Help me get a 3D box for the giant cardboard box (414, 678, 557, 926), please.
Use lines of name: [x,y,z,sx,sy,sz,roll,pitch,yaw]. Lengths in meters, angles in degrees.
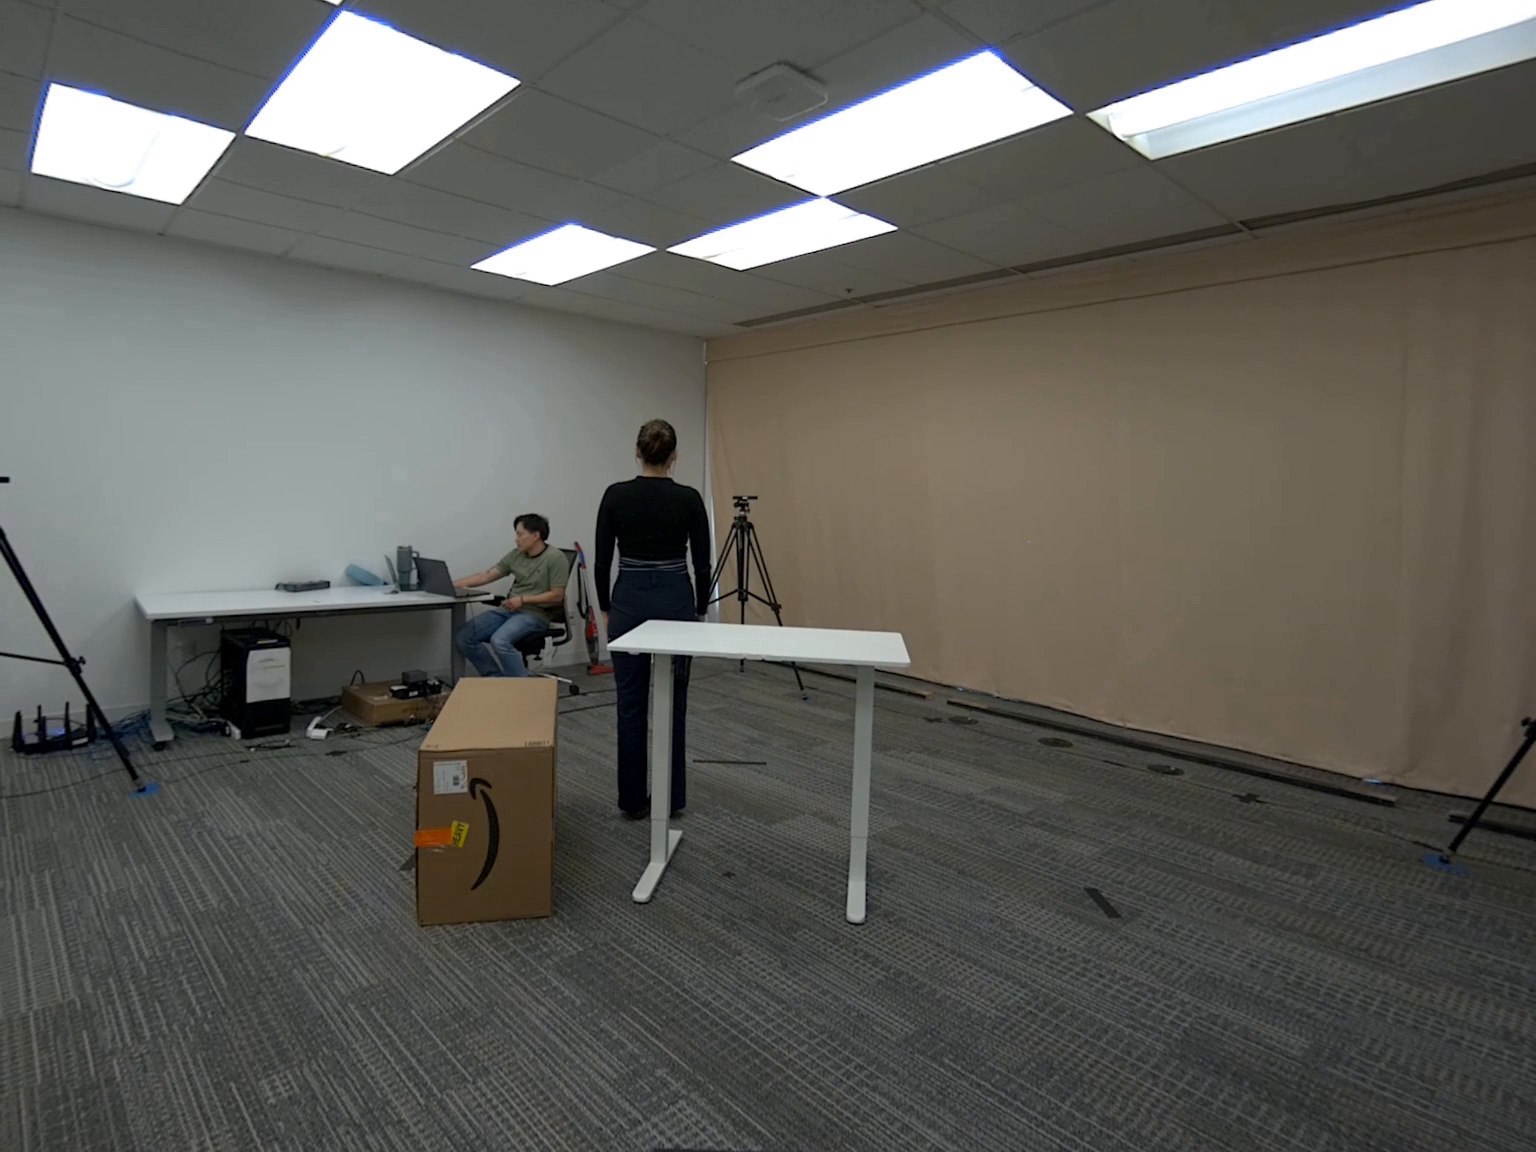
giant cardboard box: [-1.037,0.783,3.201,0.422,0.576,1.039,0,5,-13]
